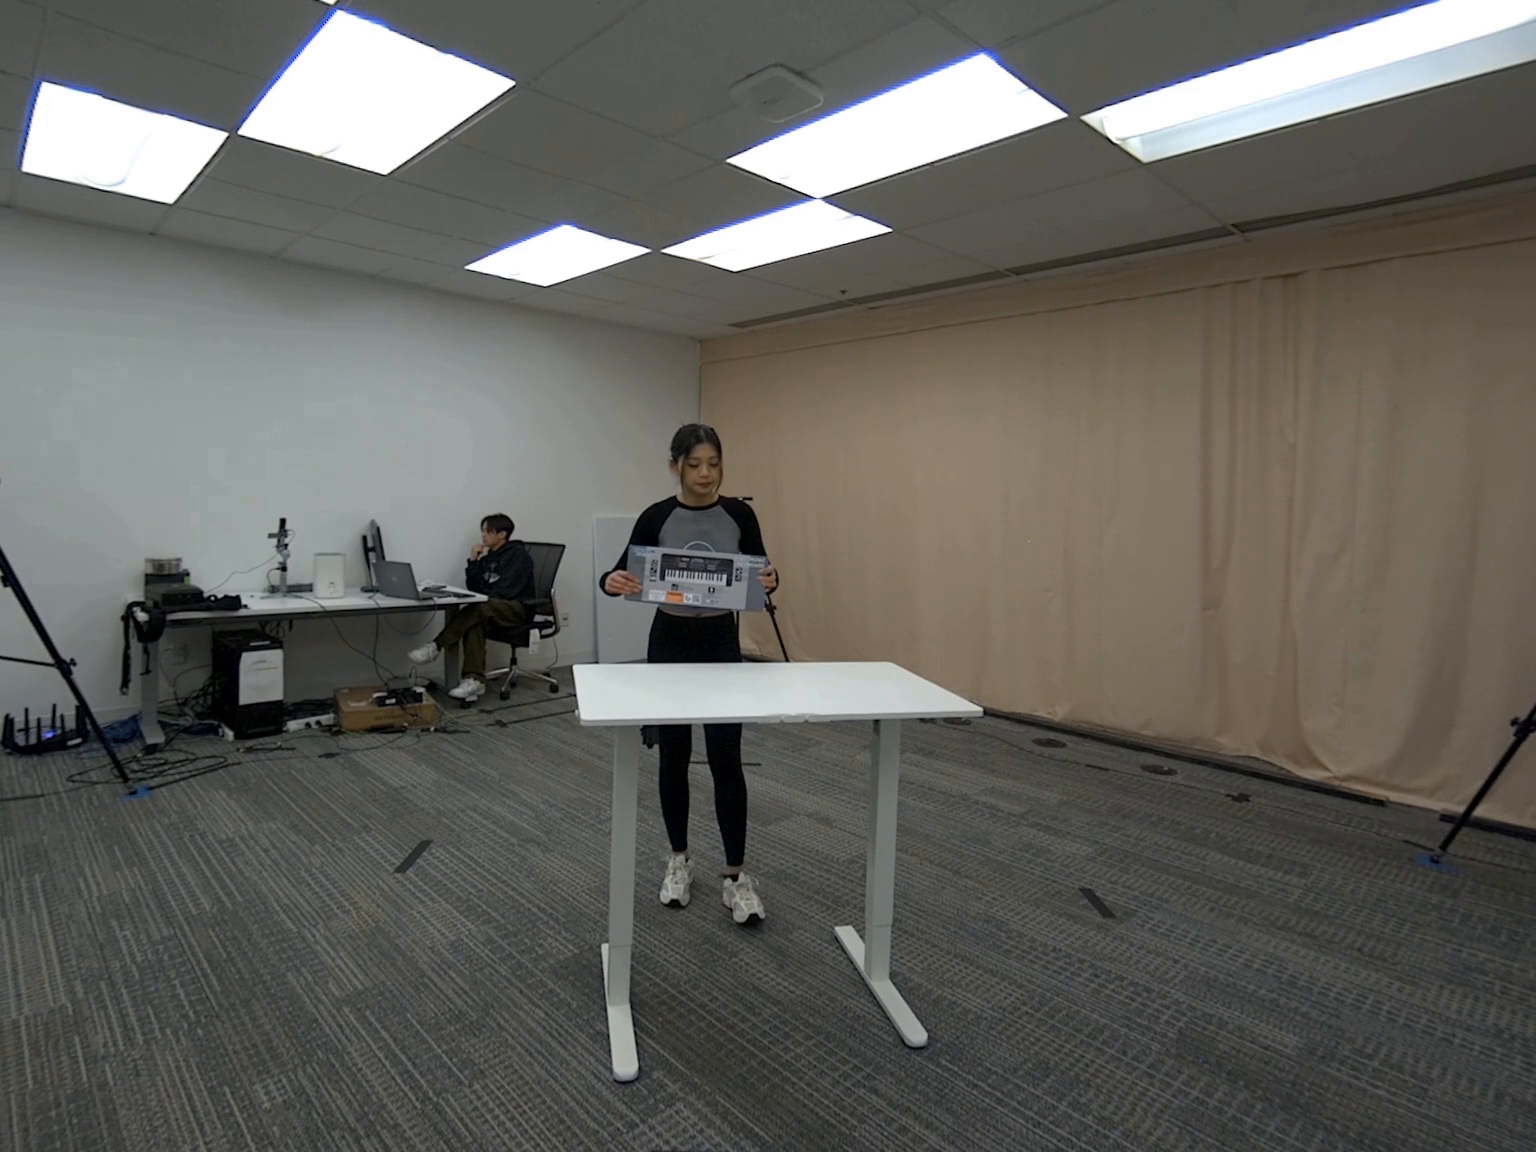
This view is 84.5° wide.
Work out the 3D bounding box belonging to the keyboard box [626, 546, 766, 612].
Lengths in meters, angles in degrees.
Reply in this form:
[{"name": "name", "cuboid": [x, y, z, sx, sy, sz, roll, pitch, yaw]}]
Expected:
[{"name": "keyboard box", "cuboid": [-0.251, 0.012, 2.631, 0.438, 0.176, 0.059, 6, -5, 2]}]
